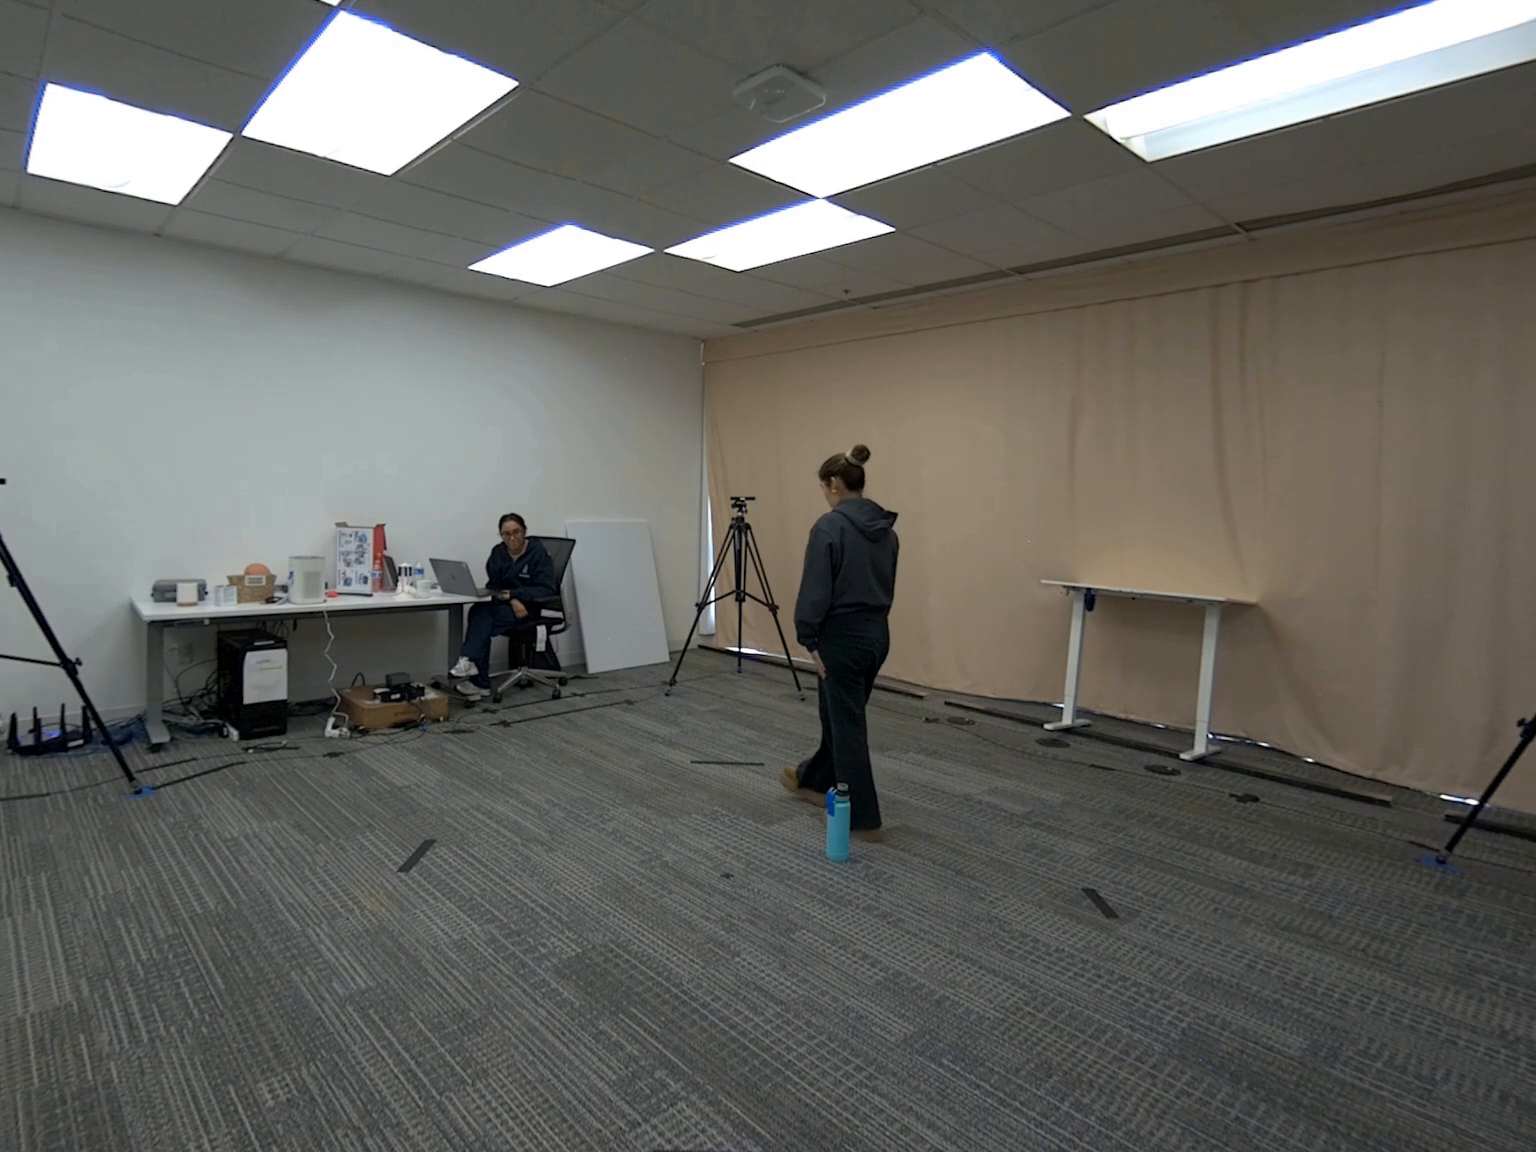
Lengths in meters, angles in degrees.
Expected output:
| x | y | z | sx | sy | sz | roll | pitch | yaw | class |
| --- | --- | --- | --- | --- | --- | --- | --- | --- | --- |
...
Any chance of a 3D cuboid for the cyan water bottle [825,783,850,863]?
| x | y | z | sx | sy | sz | roll | pitch | yaw | class |
| --- | --- | --- | --- | --- | --- | --- | --- | --- | --- |
| 0.264 | 0.958 | 3.297 | 0.092 | 0.282 | 0.092 | 0 | 4 | -1 | cyan water bottle |
